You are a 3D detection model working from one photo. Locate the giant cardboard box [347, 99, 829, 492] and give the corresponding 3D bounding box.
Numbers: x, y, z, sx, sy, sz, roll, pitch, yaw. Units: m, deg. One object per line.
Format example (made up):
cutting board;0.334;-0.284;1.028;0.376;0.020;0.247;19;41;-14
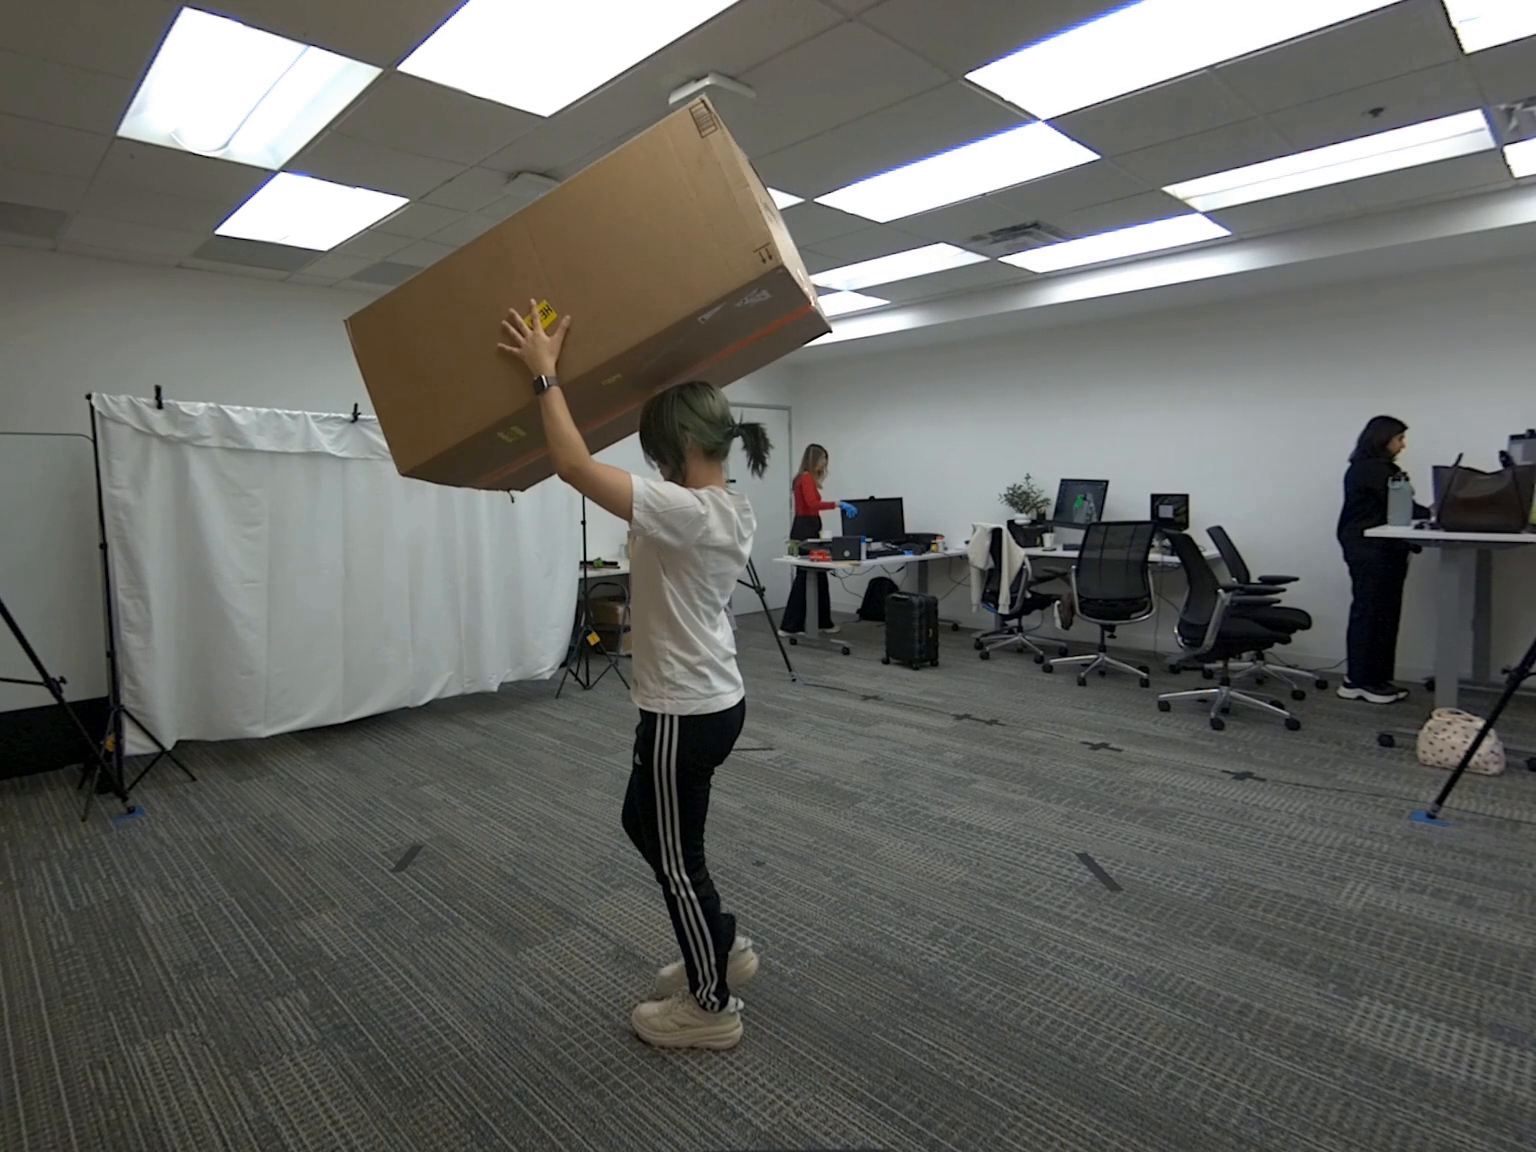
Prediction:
giant cardboard box;-0.429;-0.631;2.181;1.034;0.451;0.575;-25;-5;15
